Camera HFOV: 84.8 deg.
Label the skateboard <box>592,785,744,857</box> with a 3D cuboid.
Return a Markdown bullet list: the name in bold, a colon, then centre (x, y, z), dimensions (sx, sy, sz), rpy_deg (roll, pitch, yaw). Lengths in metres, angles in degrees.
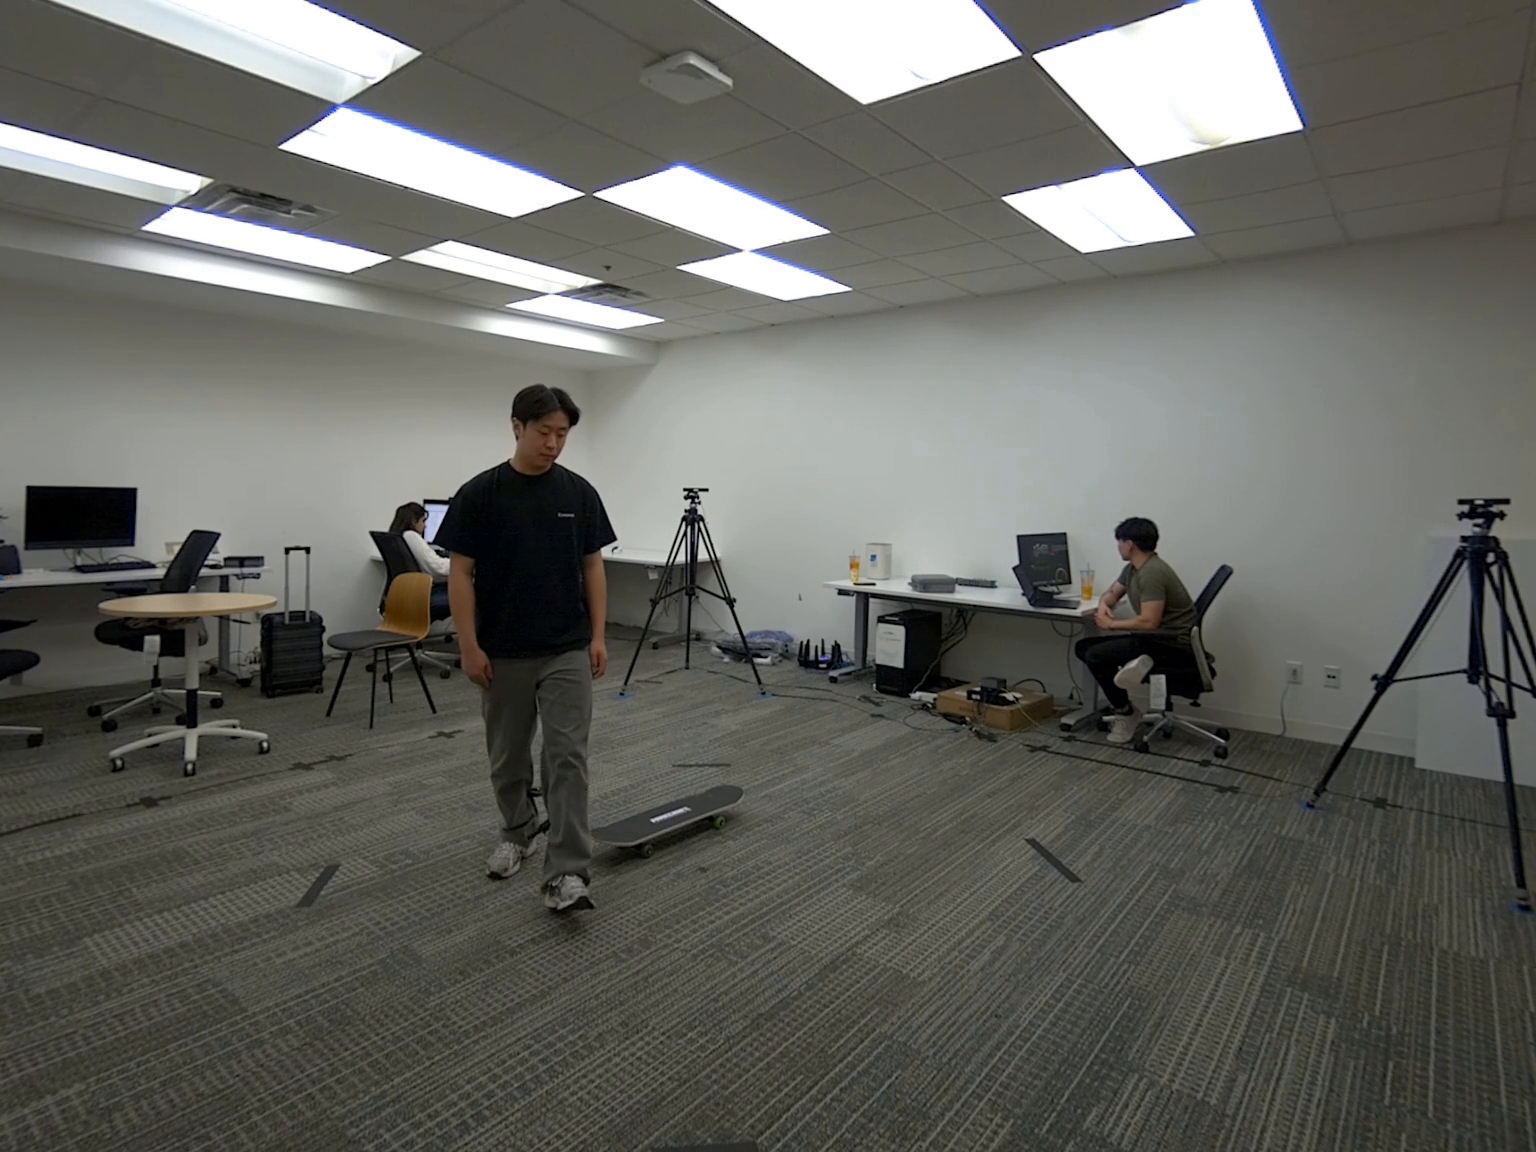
- **skateboard**: centre (-0.393, 0.988, 3.399), dimensions (0.200, 0.110, 0.762), rpy_deg (6, 8, 41)
